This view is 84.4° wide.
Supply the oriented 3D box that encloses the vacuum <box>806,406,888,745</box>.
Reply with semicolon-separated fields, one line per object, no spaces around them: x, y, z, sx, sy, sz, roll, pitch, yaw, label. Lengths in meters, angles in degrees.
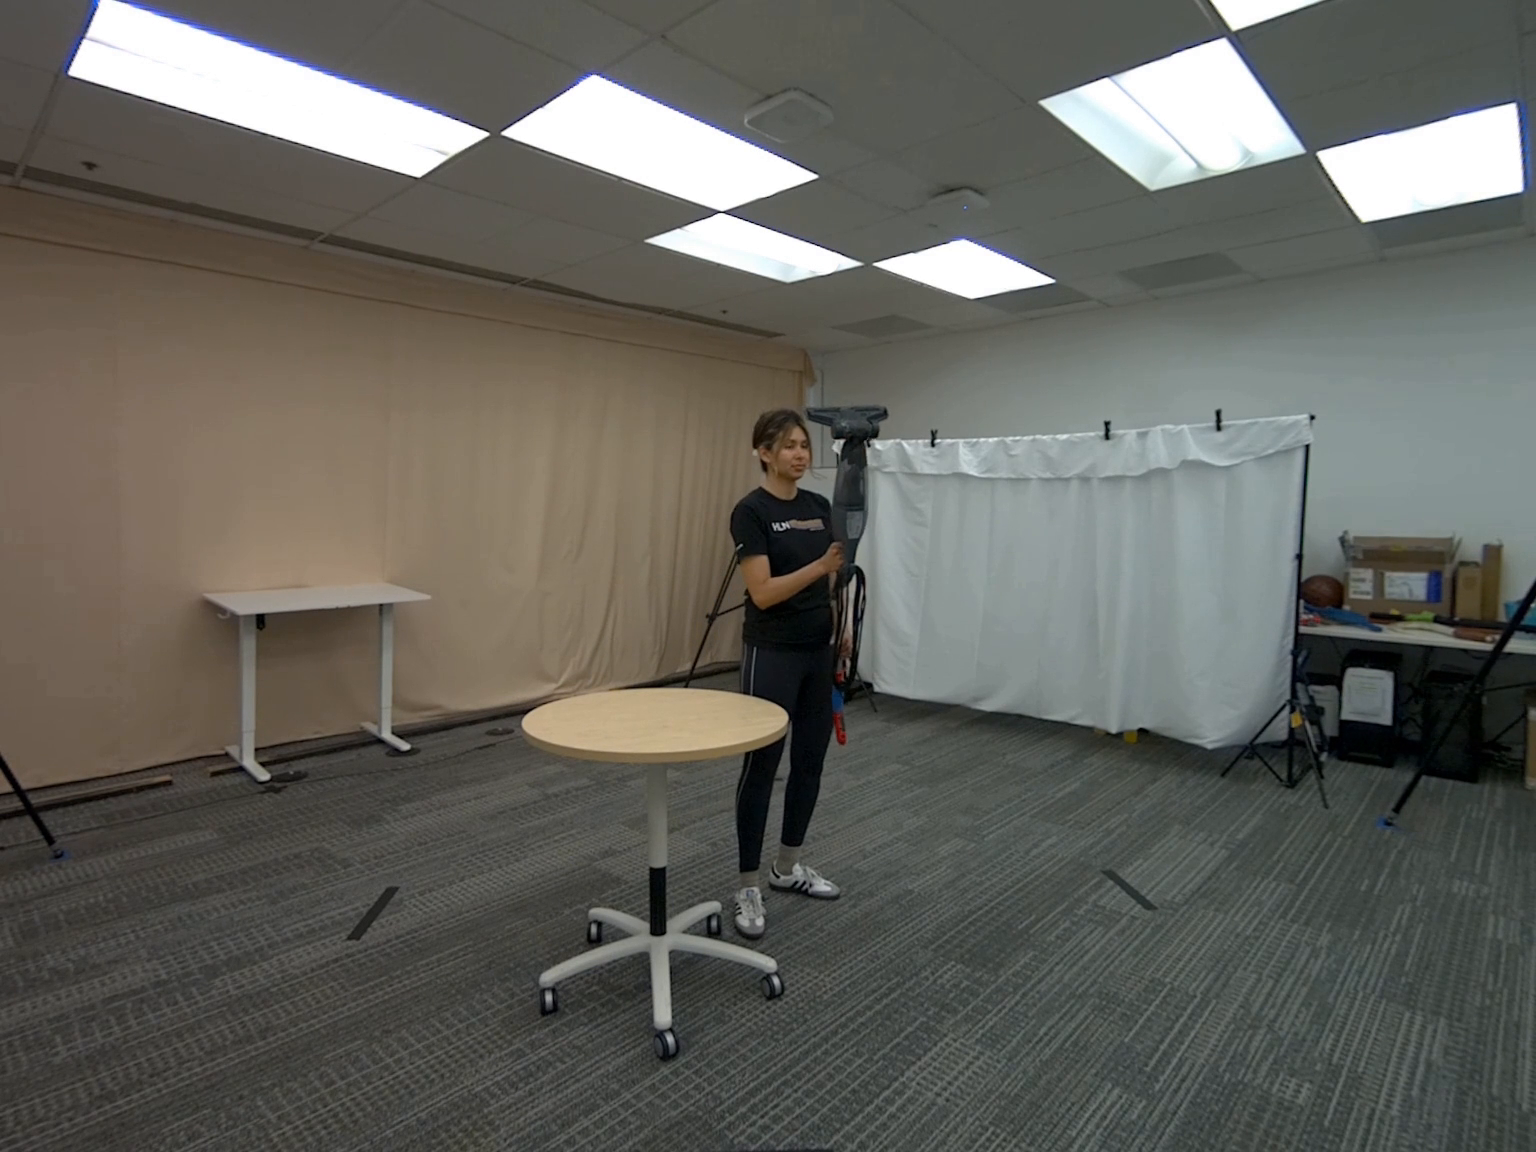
0.253;0.031;2.585;0.250;1.041;0.146;-3;12;-9;vacuum
